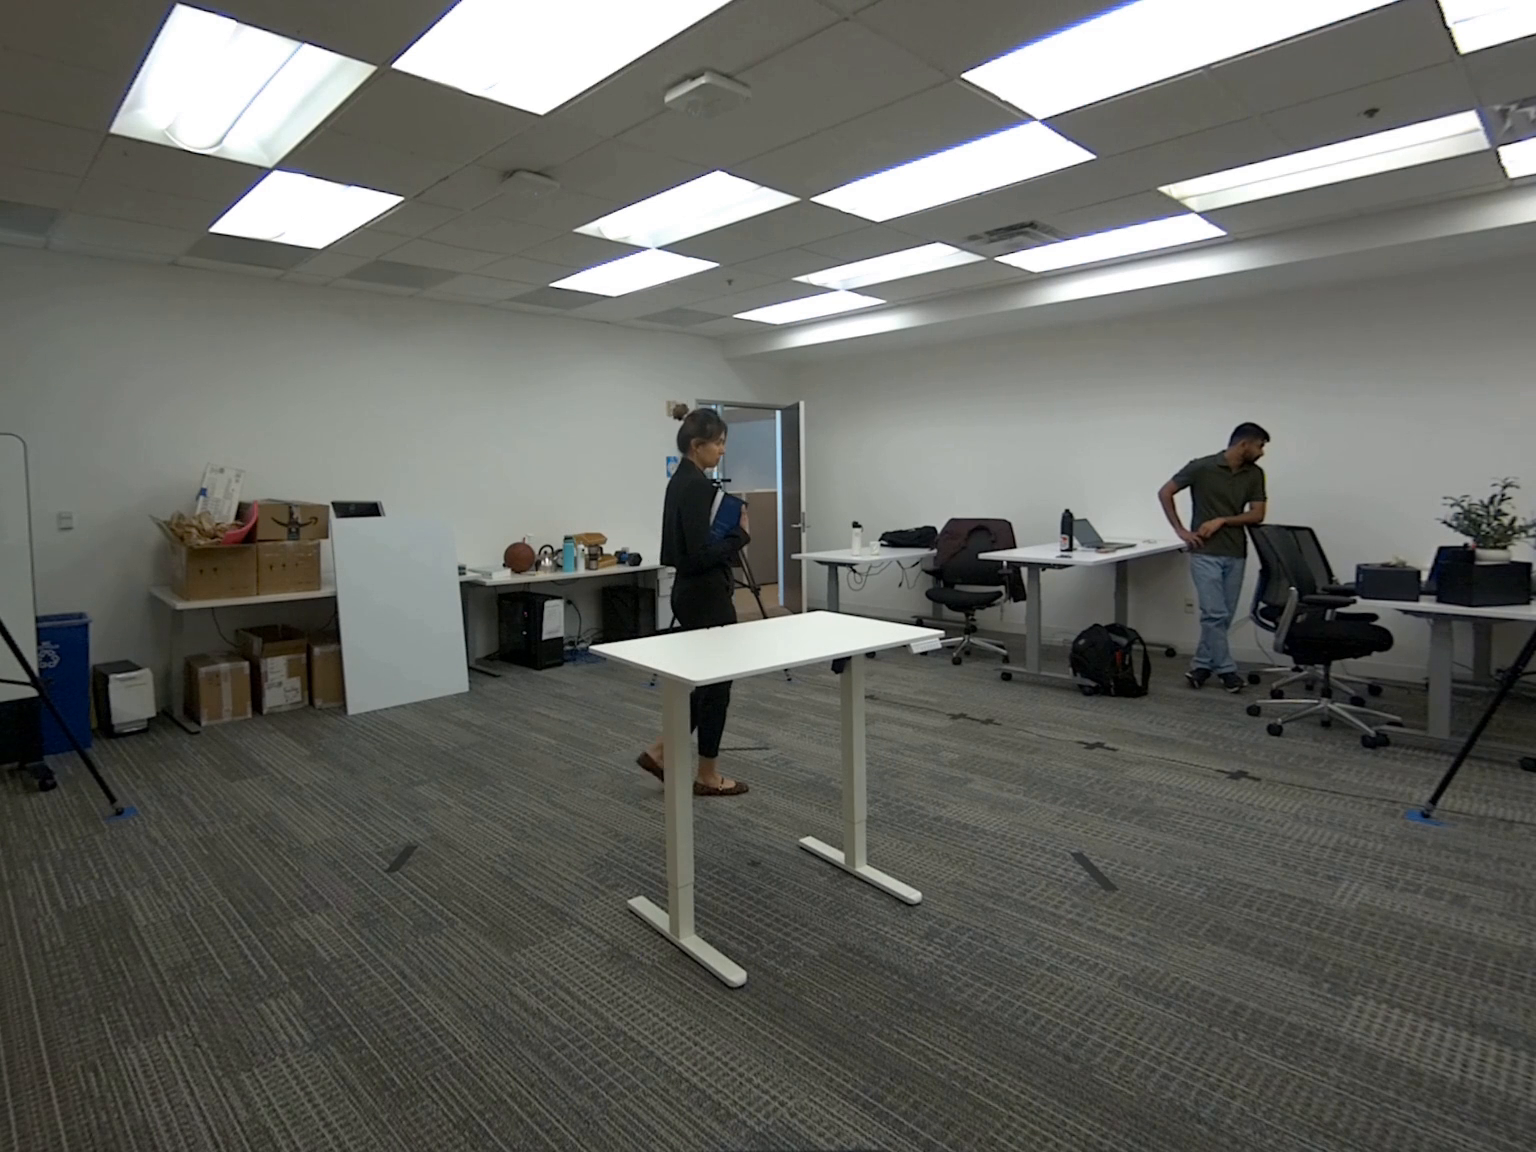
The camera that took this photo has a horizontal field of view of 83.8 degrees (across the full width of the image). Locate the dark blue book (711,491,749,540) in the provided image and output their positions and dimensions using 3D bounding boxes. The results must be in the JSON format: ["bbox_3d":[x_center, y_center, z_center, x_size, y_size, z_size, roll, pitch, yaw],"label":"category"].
[{"bbox_3d":[-0.188,-0.214,3.577,0.047,0.245,0.157,14,-4,44],"label":"dark blue book"}]
